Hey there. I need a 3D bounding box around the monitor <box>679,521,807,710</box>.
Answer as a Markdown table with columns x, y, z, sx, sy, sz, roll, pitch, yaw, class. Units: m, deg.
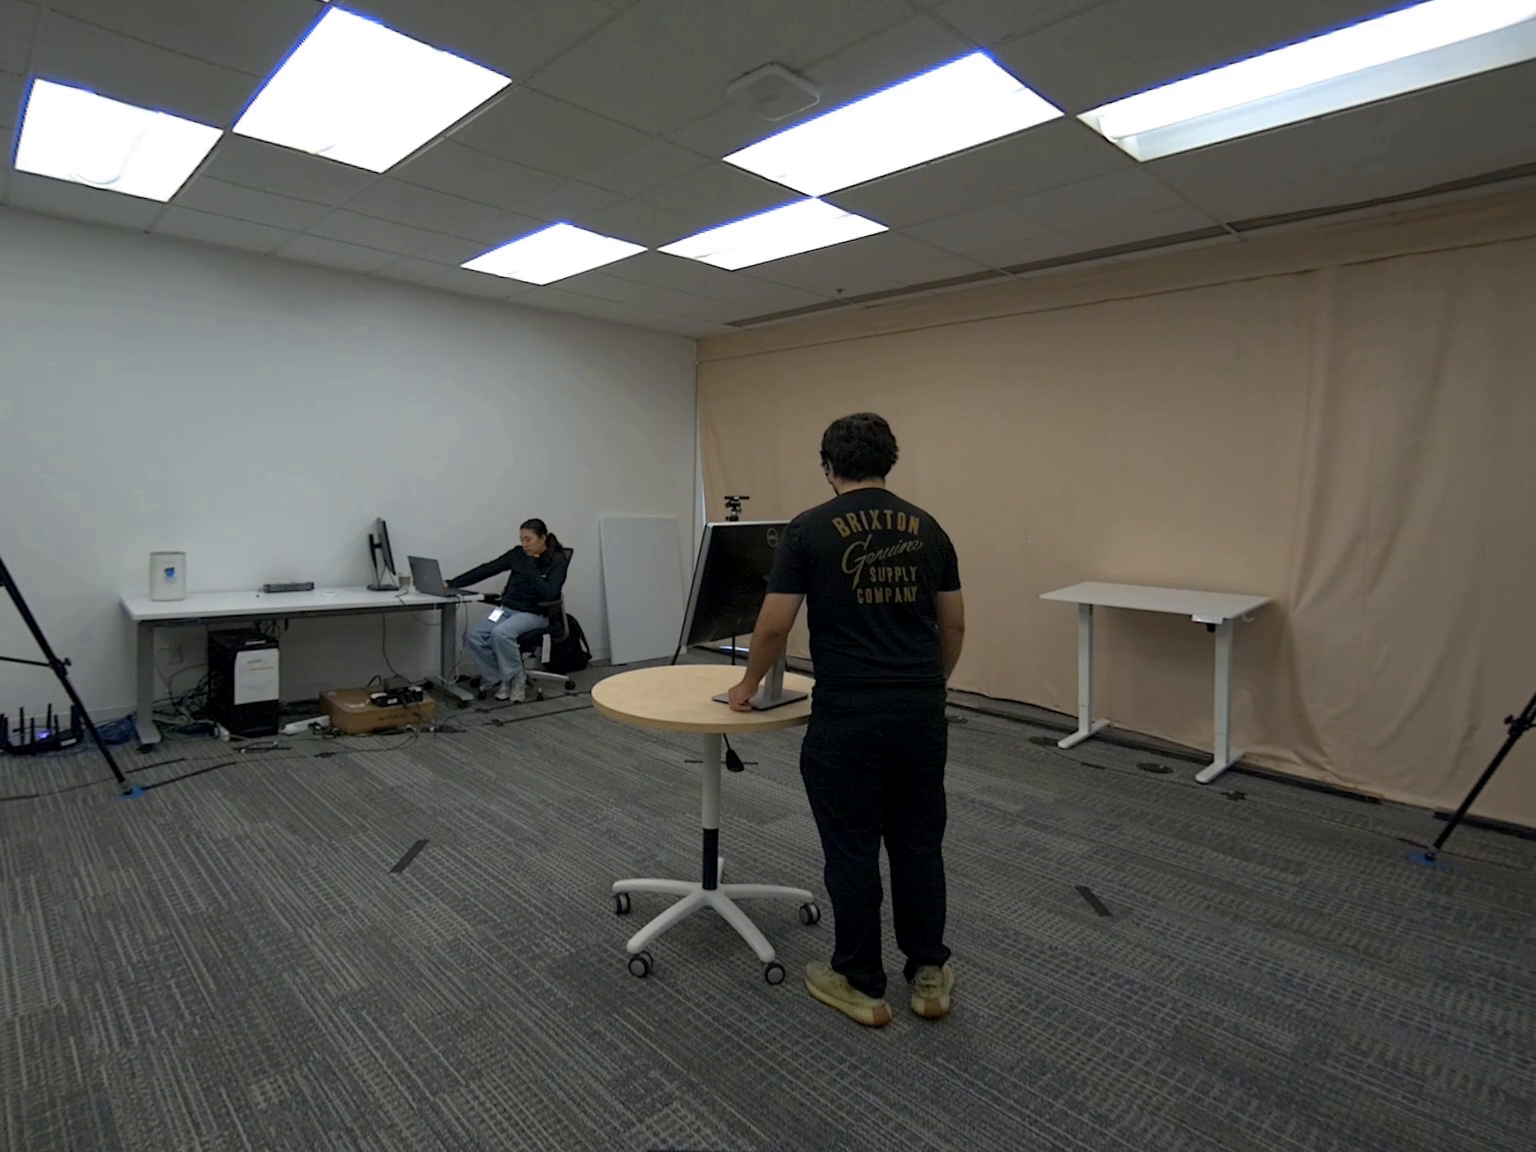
| x | y | z | sx | sy | sz | roll | pitch | yaw | class |
| --- | --- | --- | --- | --- | --- | --- | --- | --- | --- |
| -0.001 | 0.115 | 2.528 | 0.216 | 0.551 | 0.553 | 14 | 11 | 35 | monitor |
